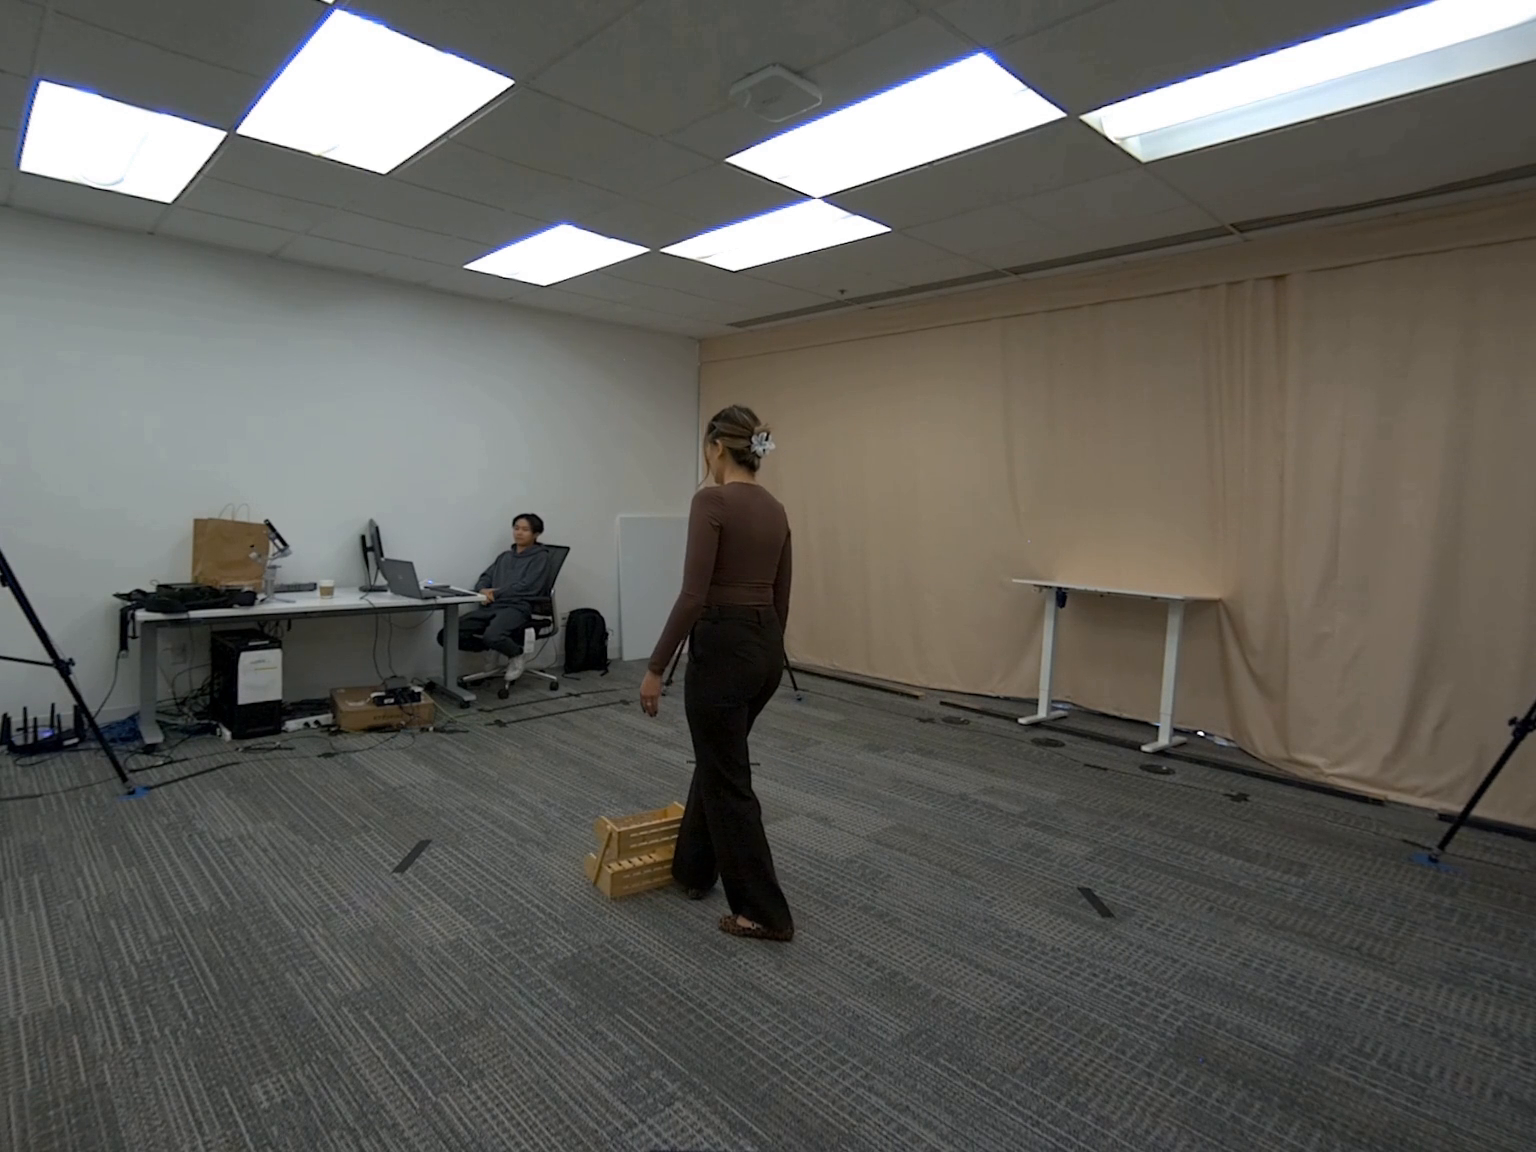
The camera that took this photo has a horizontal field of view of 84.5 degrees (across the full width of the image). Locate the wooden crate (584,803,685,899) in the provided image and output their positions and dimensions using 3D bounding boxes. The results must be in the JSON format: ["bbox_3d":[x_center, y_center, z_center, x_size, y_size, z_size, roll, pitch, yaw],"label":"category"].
[{"bbox_3d":[-0.480,0.970,3.060,0.317,0.272,0.309,-1,6,-33],"label":"wooden crate"}]
